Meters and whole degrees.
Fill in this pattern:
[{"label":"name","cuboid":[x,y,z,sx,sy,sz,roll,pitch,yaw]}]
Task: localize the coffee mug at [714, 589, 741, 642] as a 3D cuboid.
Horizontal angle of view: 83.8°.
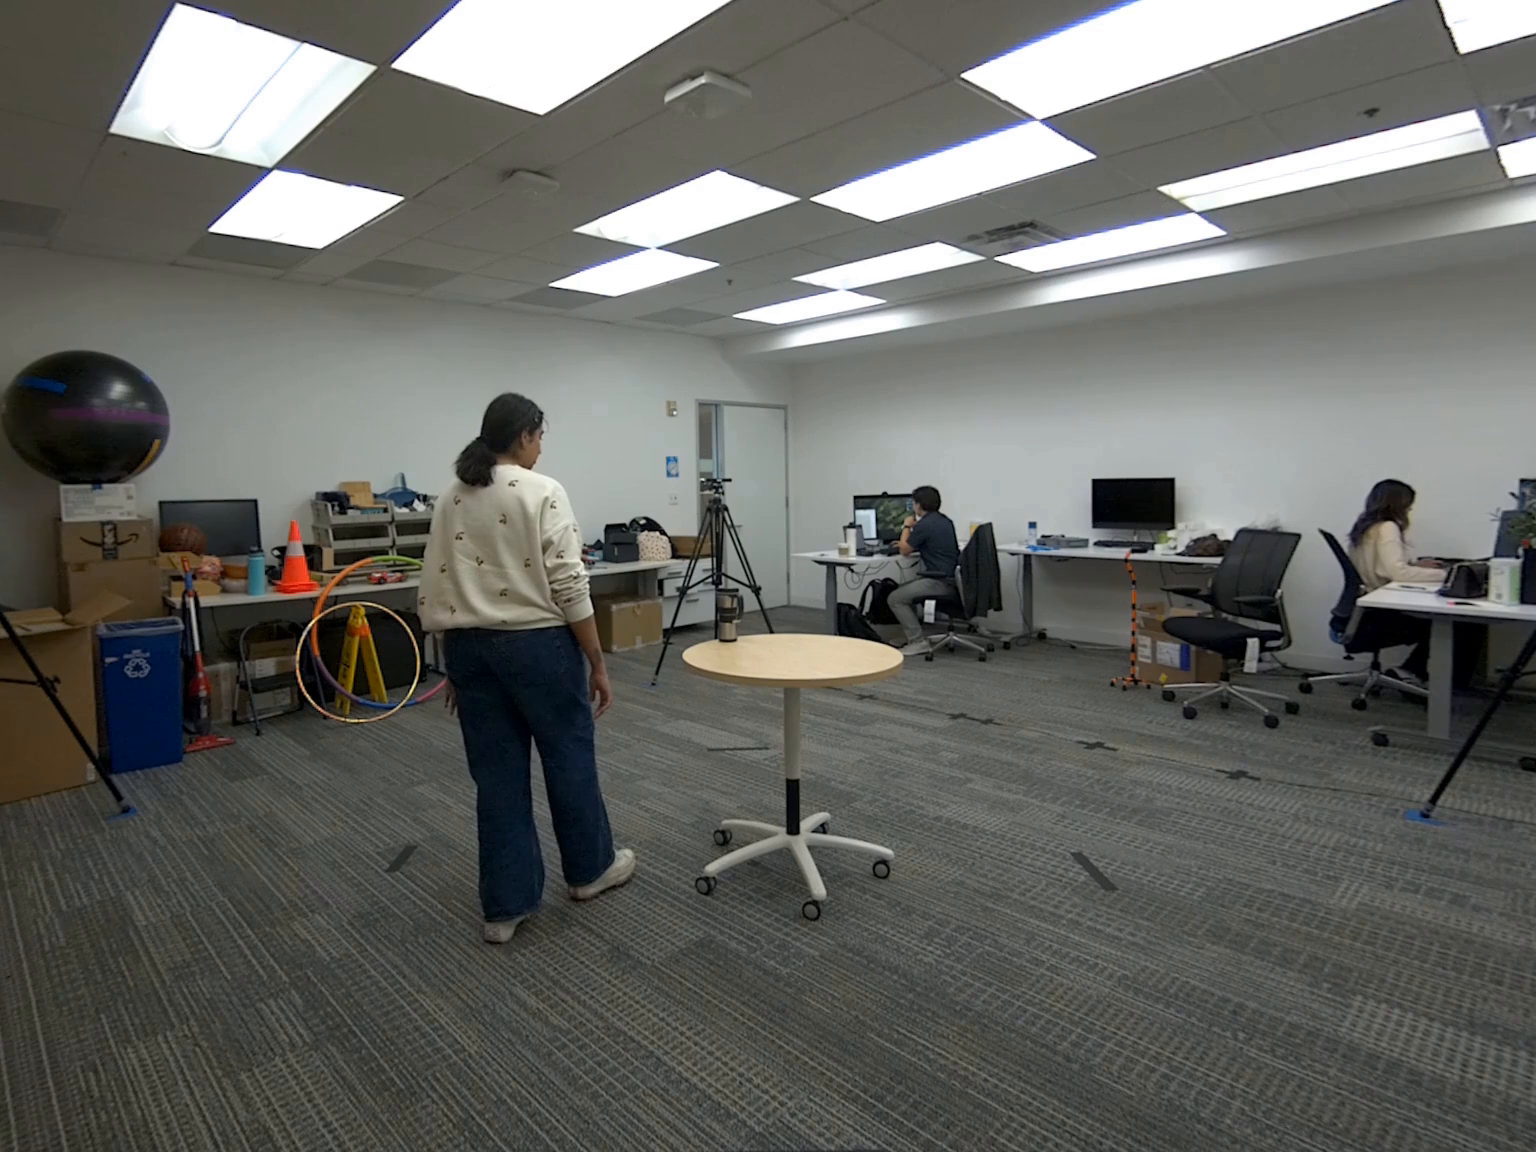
[{"label":"coffee mug","cuboid":[-0.141,0.147,3.208,0.086,0.203,0.124,0,1,-22]}]
